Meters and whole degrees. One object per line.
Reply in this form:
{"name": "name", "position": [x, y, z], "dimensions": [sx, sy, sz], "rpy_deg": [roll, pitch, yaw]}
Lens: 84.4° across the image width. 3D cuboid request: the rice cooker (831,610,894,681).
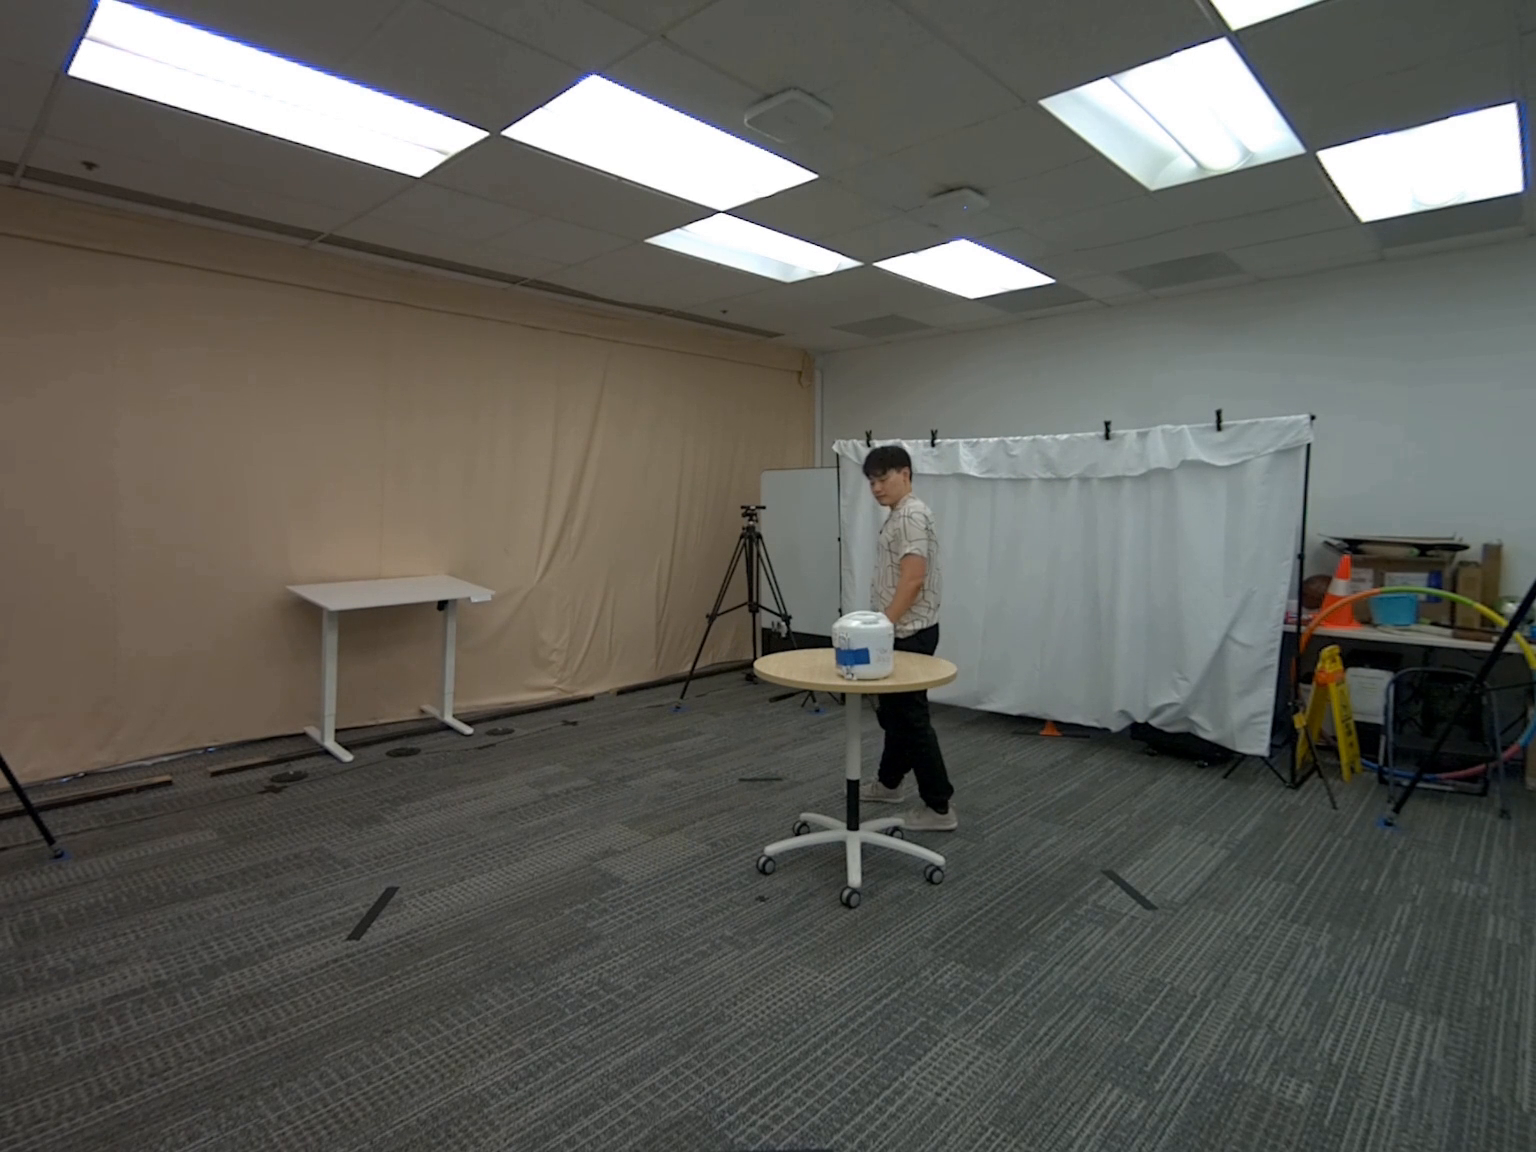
{"name": "rice cooker", "position": [0.344, 0.239, 3.006], "dimensions": [0.220, 0.232, 0.219], "rpy_deg": [-1, 4, -4]}
